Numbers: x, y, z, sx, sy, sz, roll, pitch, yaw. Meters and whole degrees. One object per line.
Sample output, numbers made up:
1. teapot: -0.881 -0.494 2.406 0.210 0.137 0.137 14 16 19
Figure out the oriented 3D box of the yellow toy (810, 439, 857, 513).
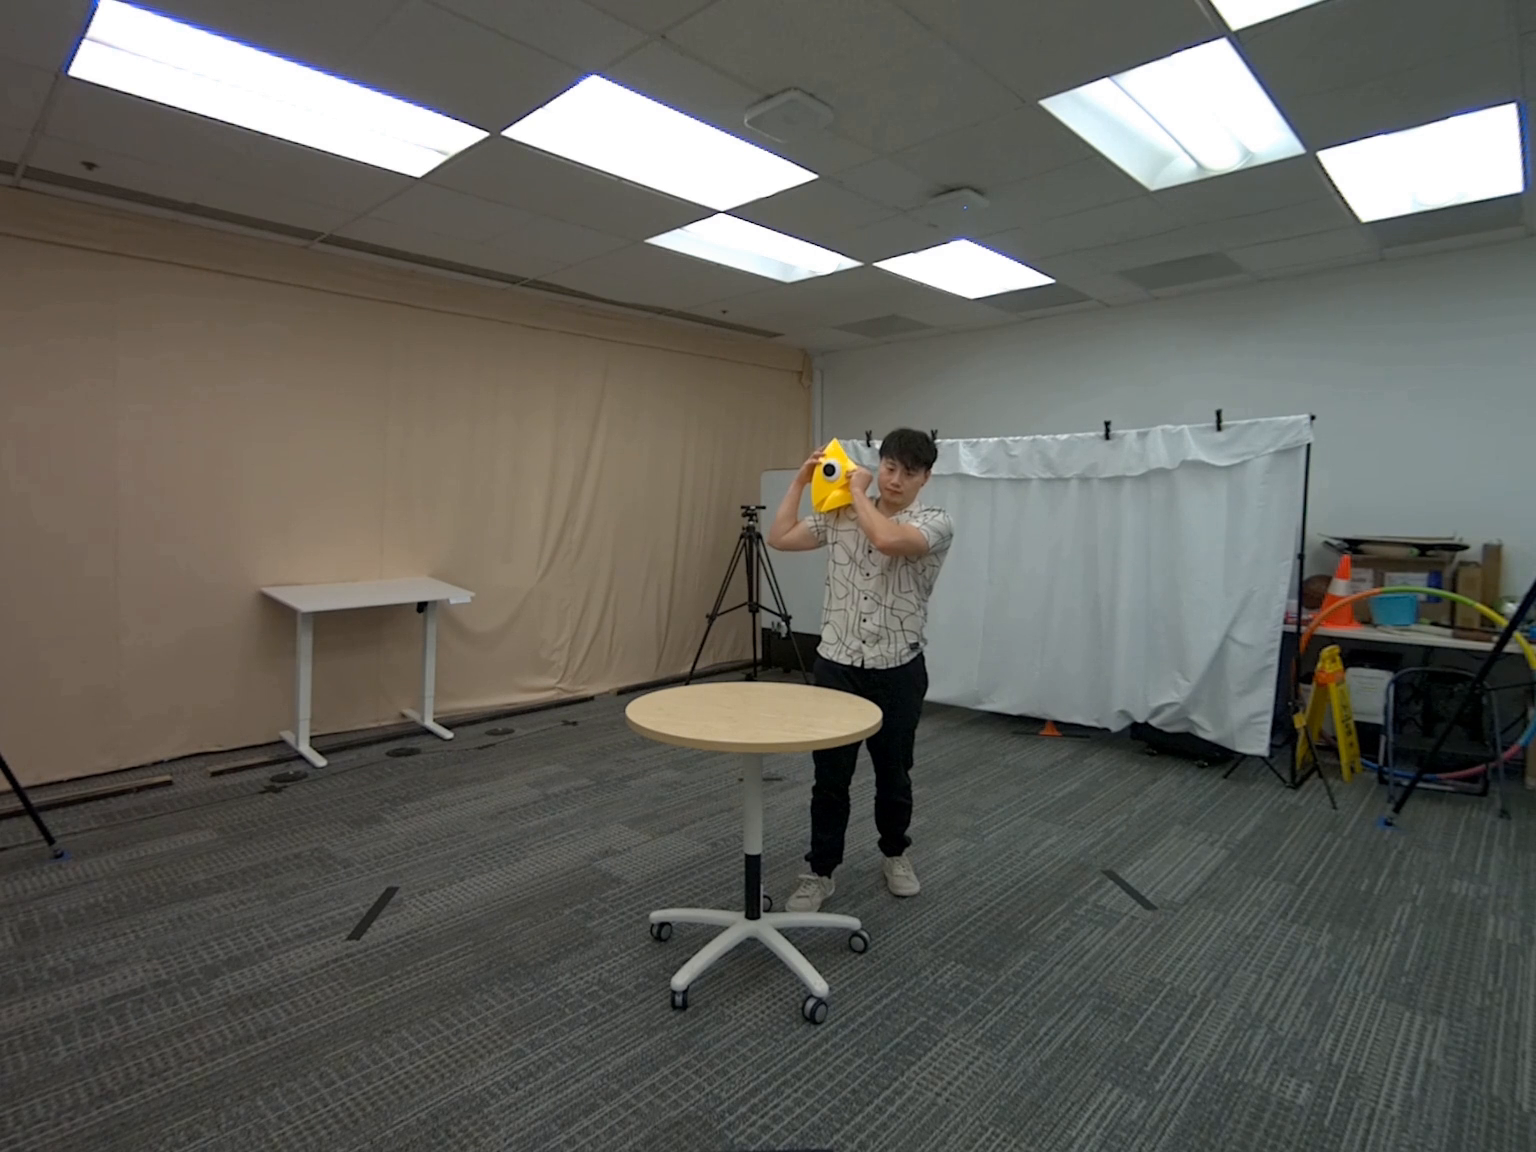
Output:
1. yellow toy: 0.232 -0.366 3.027 0.192 0.230 0.206 -19 5 -5
